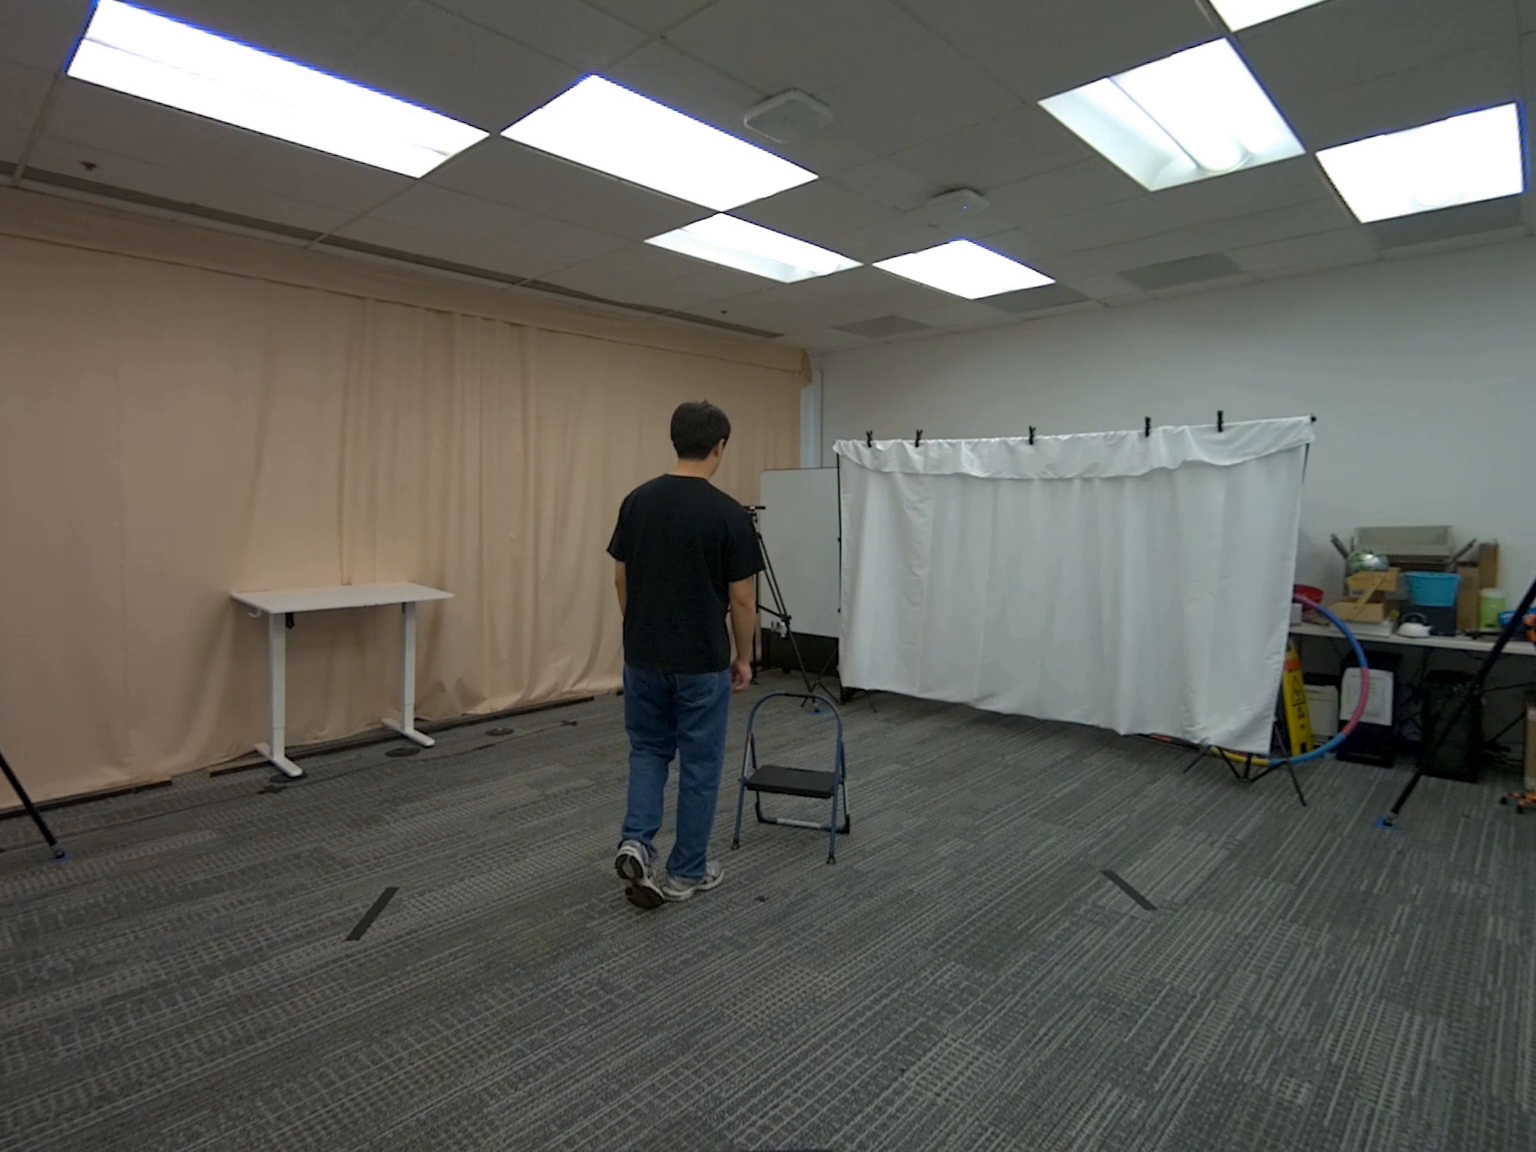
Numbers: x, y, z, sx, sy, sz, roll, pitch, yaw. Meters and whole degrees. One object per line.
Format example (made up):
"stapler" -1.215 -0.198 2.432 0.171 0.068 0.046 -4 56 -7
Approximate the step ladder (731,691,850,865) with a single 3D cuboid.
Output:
"step ladder" 0.109 0.798 3.490 0.439 0.605 0.343 1 3 19
